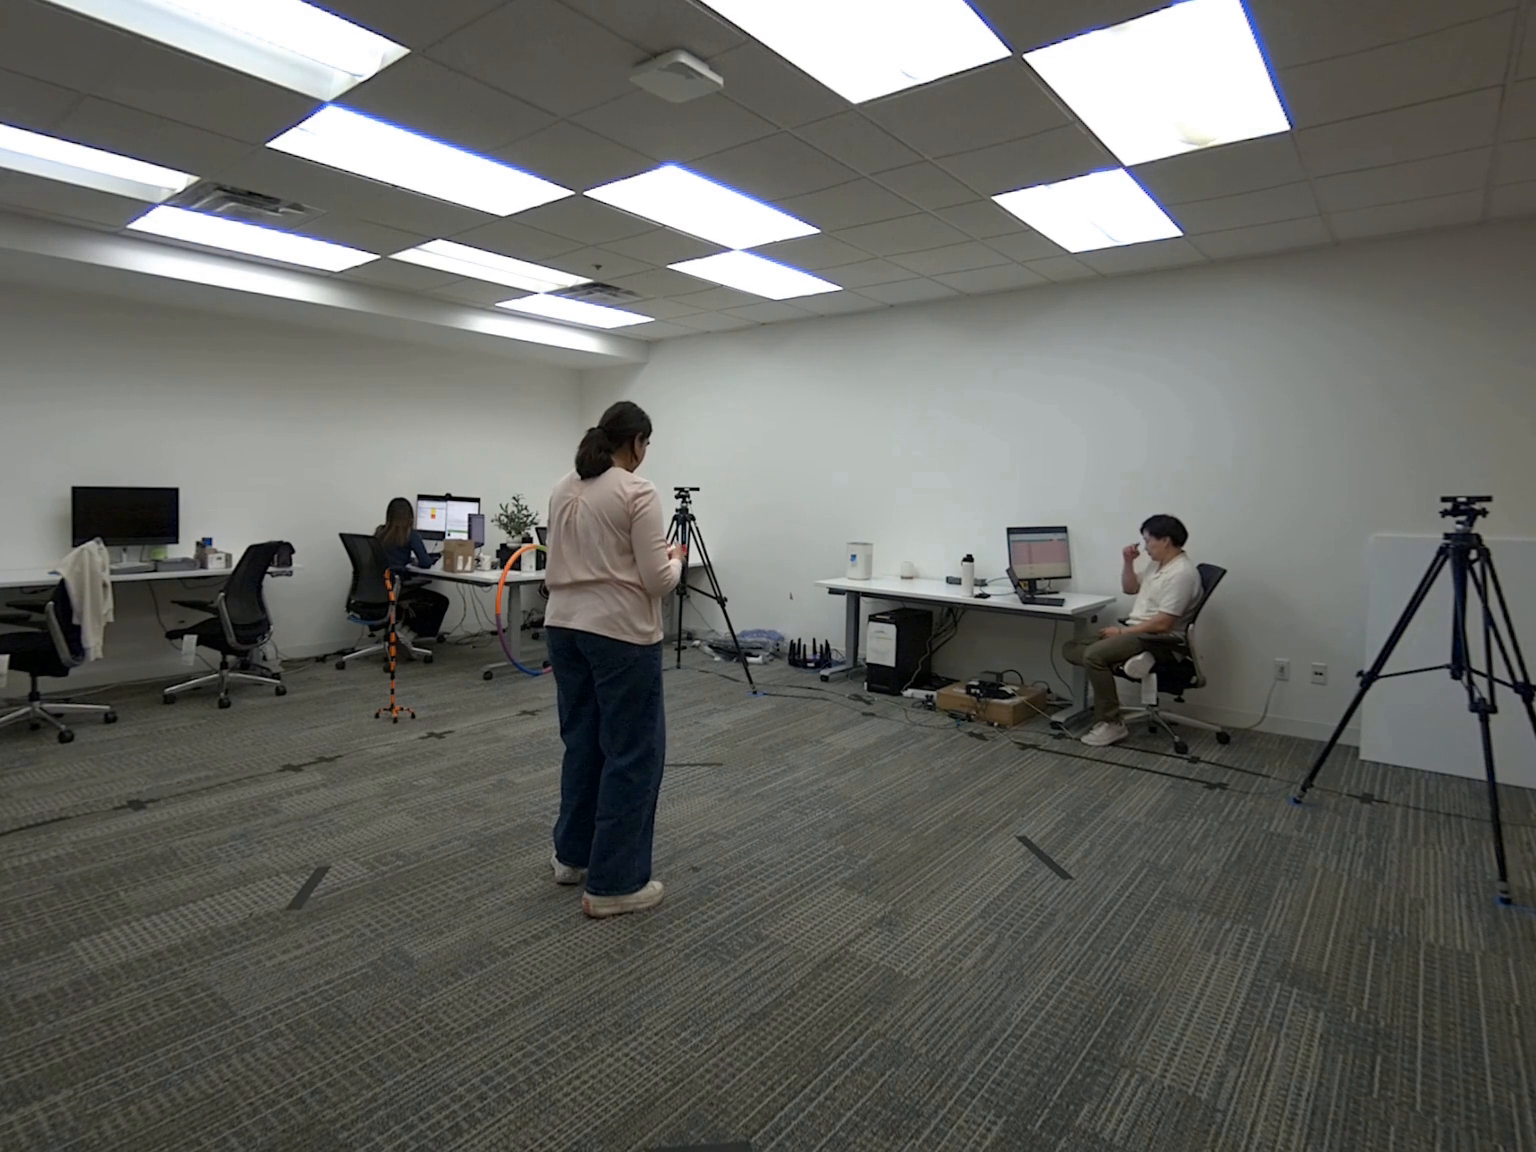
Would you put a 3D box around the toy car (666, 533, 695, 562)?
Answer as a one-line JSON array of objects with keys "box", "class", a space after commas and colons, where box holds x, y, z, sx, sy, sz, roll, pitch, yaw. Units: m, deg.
[{"box": [-0.415, -0.049, 3.133, 0.256, 0.084, 0.128, -36, -8, 36], "class": "toy car"}]
